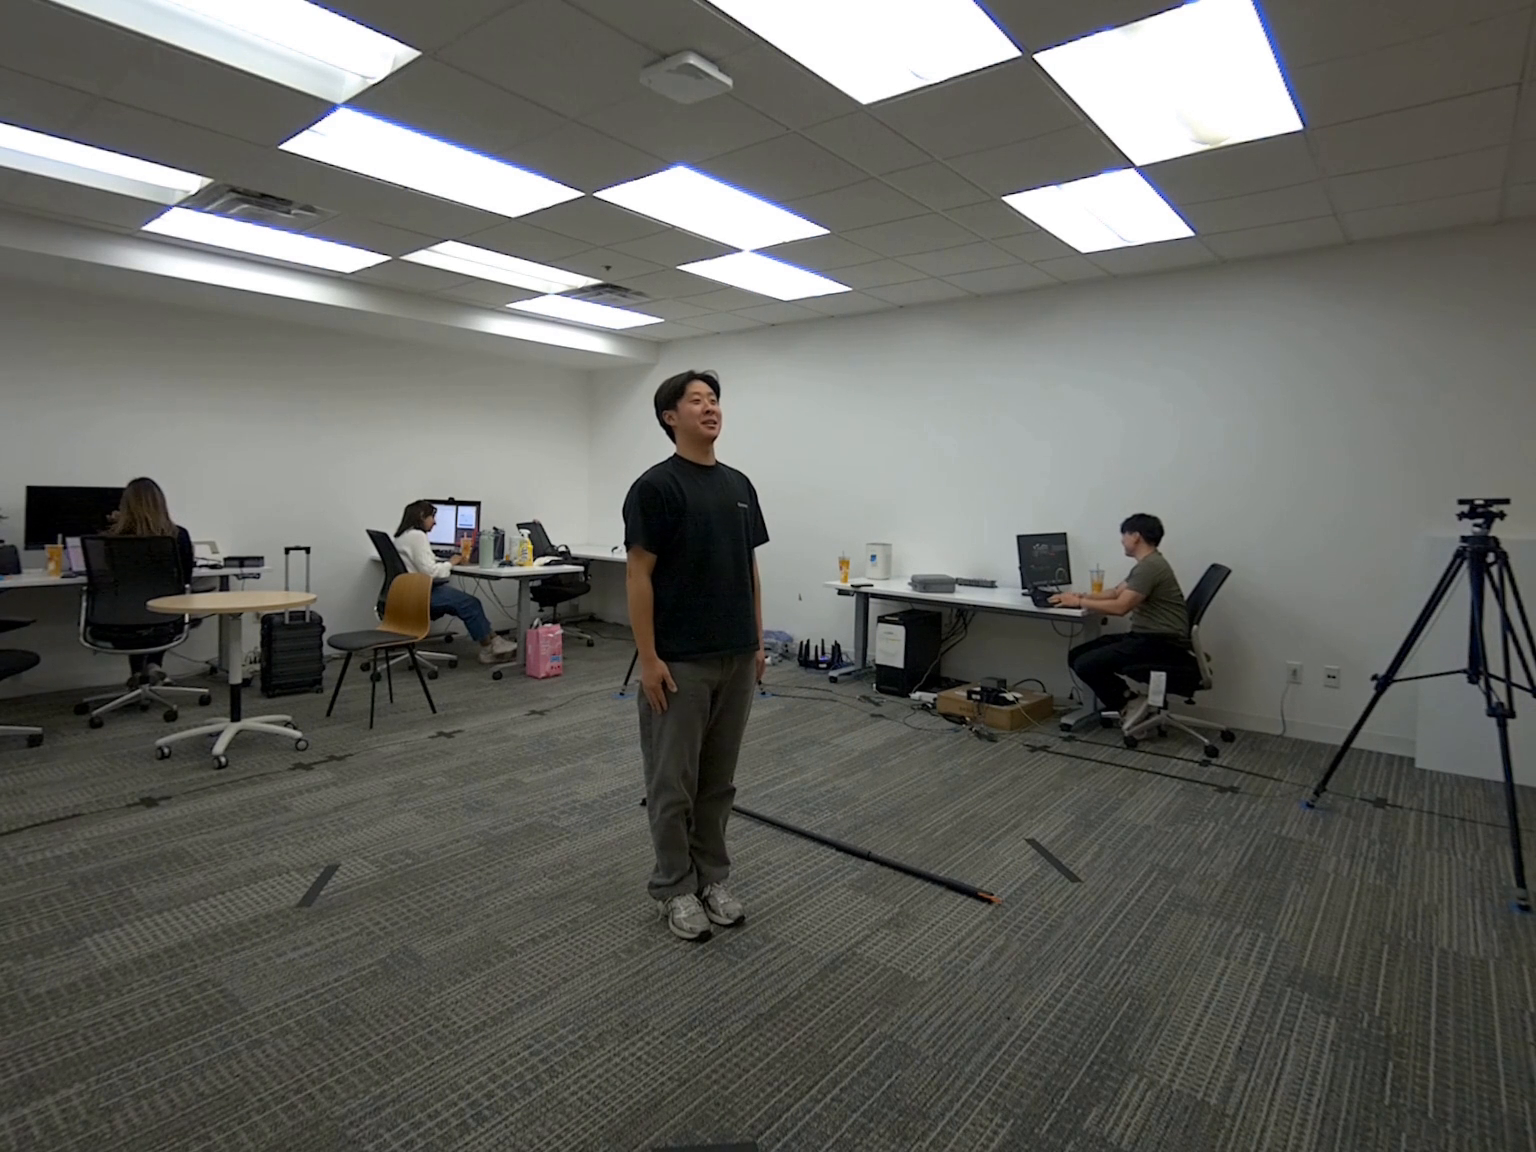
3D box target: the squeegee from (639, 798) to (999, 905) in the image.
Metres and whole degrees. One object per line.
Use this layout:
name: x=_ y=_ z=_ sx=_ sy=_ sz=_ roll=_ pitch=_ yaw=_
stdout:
squeegee: x=0.159 y=1.011 z=3.376 sx=1.591 sy=0.053 sz=0.425 roll=7 pitch=9 yaw=40
